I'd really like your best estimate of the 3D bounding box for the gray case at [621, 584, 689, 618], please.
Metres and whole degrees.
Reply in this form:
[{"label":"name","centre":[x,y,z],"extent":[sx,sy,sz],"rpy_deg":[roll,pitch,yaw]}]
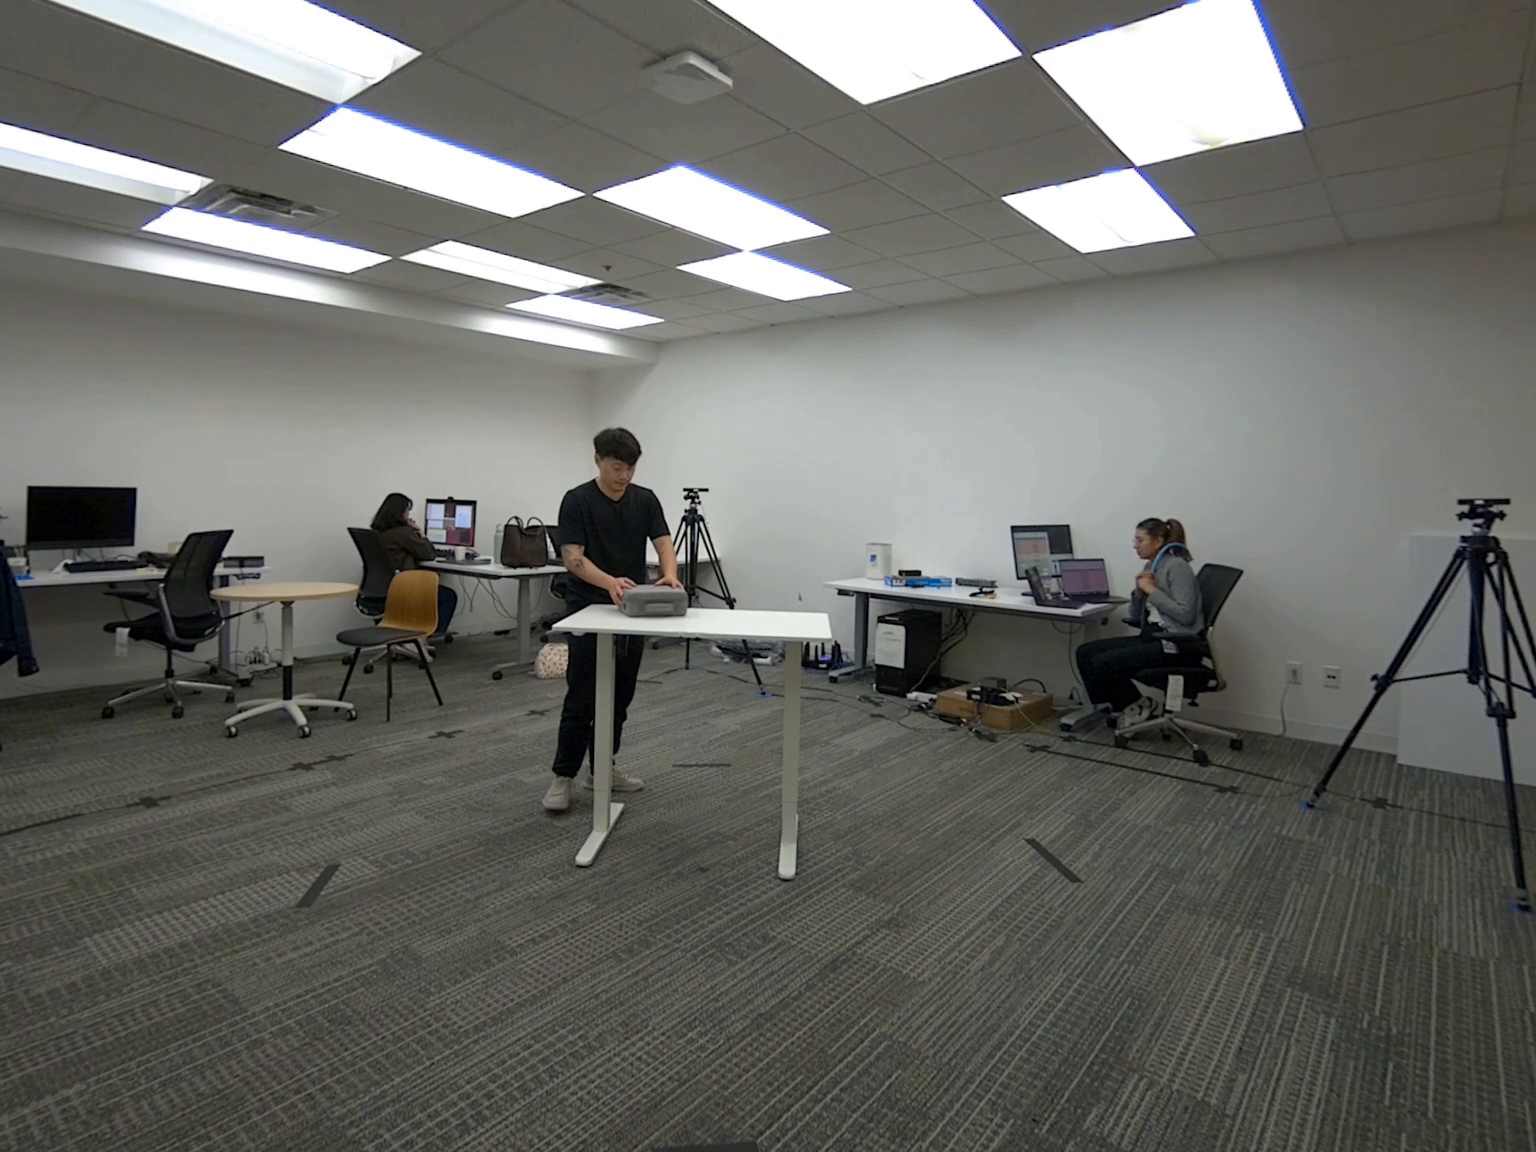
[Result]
[{"label":"gray case","centre":[-0.475,0.102,3.437],"extent":[0.252,0.104,0.266],"rpy_deg":[1,4,-17]}]
